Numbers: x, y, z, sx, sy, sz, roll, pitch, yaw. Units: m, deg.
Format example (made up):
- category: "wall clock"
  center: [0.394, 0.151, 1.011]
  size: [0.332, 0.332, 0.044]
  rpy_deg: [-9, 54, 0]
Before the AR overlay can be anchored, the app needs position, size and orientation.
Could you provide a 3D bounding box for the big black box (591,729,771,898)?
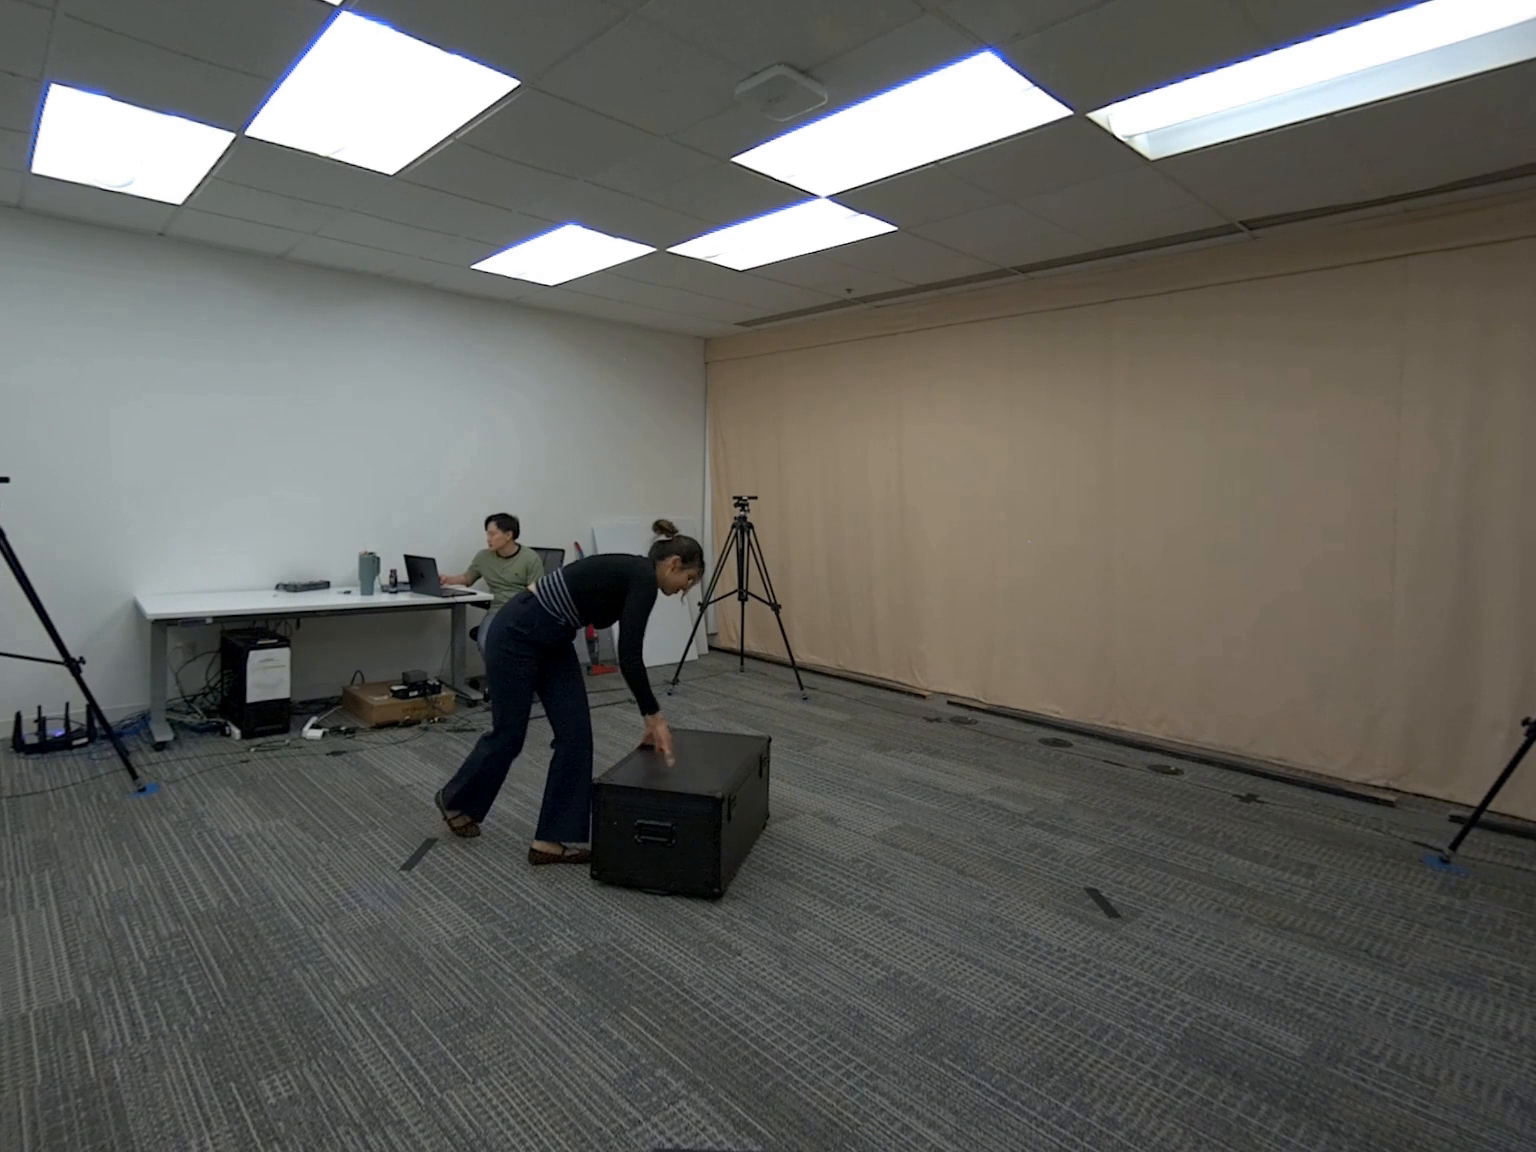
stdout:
- category: "big black box"
  center: [-0.300, 0.888, 3.321]
  size: [0.527, 0.395, 0.854]
  rpy_deg: [2, 5, 13]
